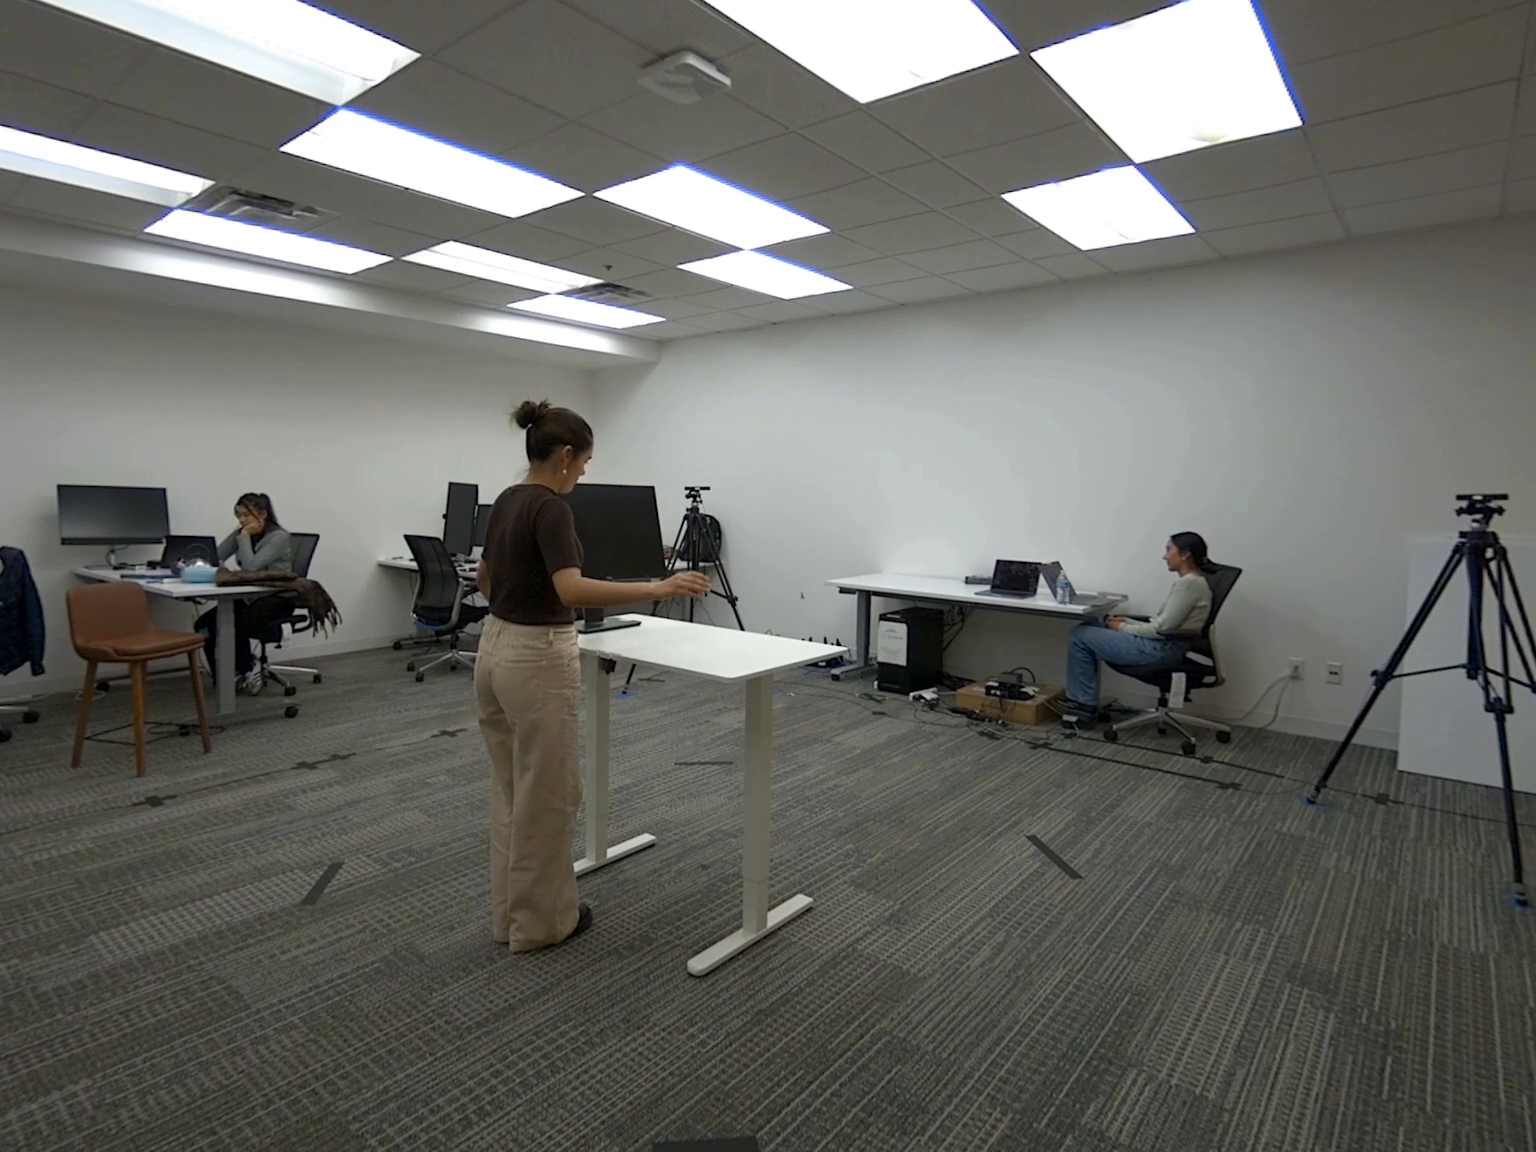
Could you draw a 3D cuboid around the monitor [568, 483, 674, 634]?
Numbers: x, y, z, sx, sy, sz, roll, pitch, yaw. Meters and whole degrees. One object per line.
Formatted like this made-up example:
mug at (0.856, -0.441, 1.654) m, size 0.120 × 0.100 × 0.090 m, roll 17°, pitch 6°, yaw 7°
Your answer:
monitor at (-0.641, -0.069, 3.050) m, size 0.193 × 0.522 × 0.523 m, roll 0°, pitch 2°, yaw 44°
